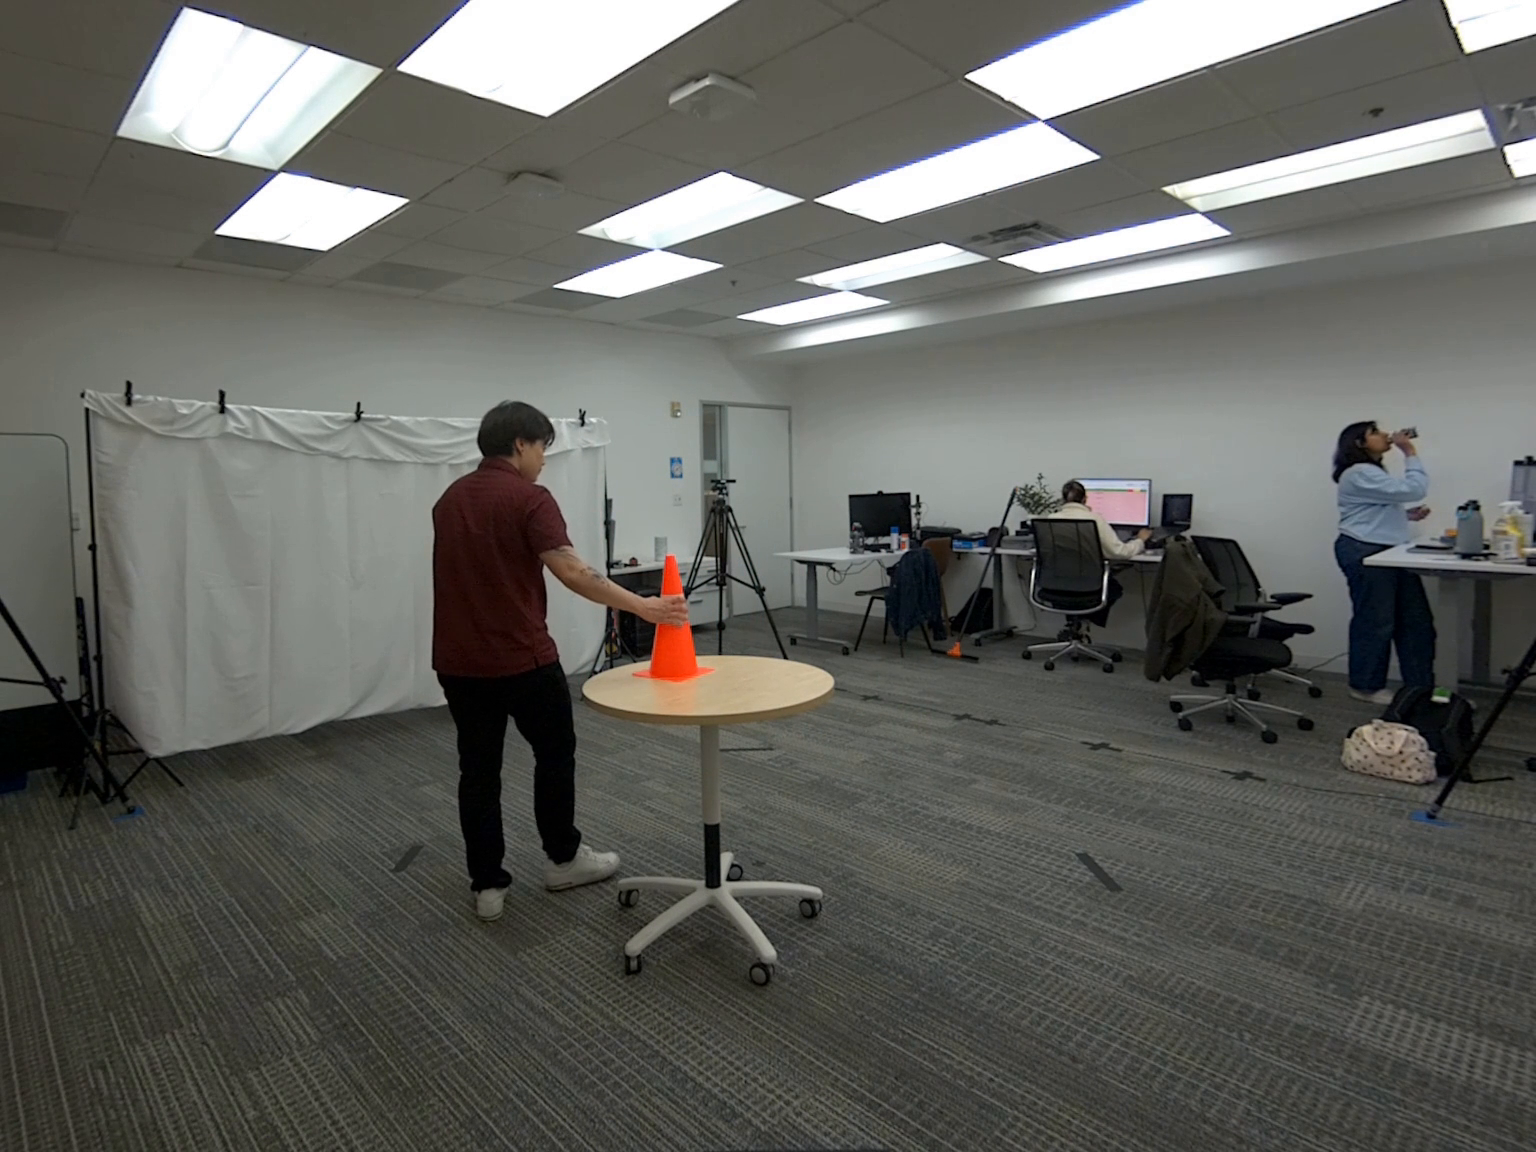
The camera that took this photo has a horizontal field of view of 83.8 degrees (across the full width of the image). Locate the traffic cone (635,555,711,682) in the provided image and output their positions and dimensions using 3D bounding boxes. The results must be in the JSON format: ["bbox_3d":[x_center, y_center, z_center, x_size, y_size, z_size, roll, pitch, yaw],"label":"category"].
[{"bbox_3d":[-0.312,0.127,2.733,0.208,0.383,0.201,-2,3,25],"label":"traffic cone"}]
